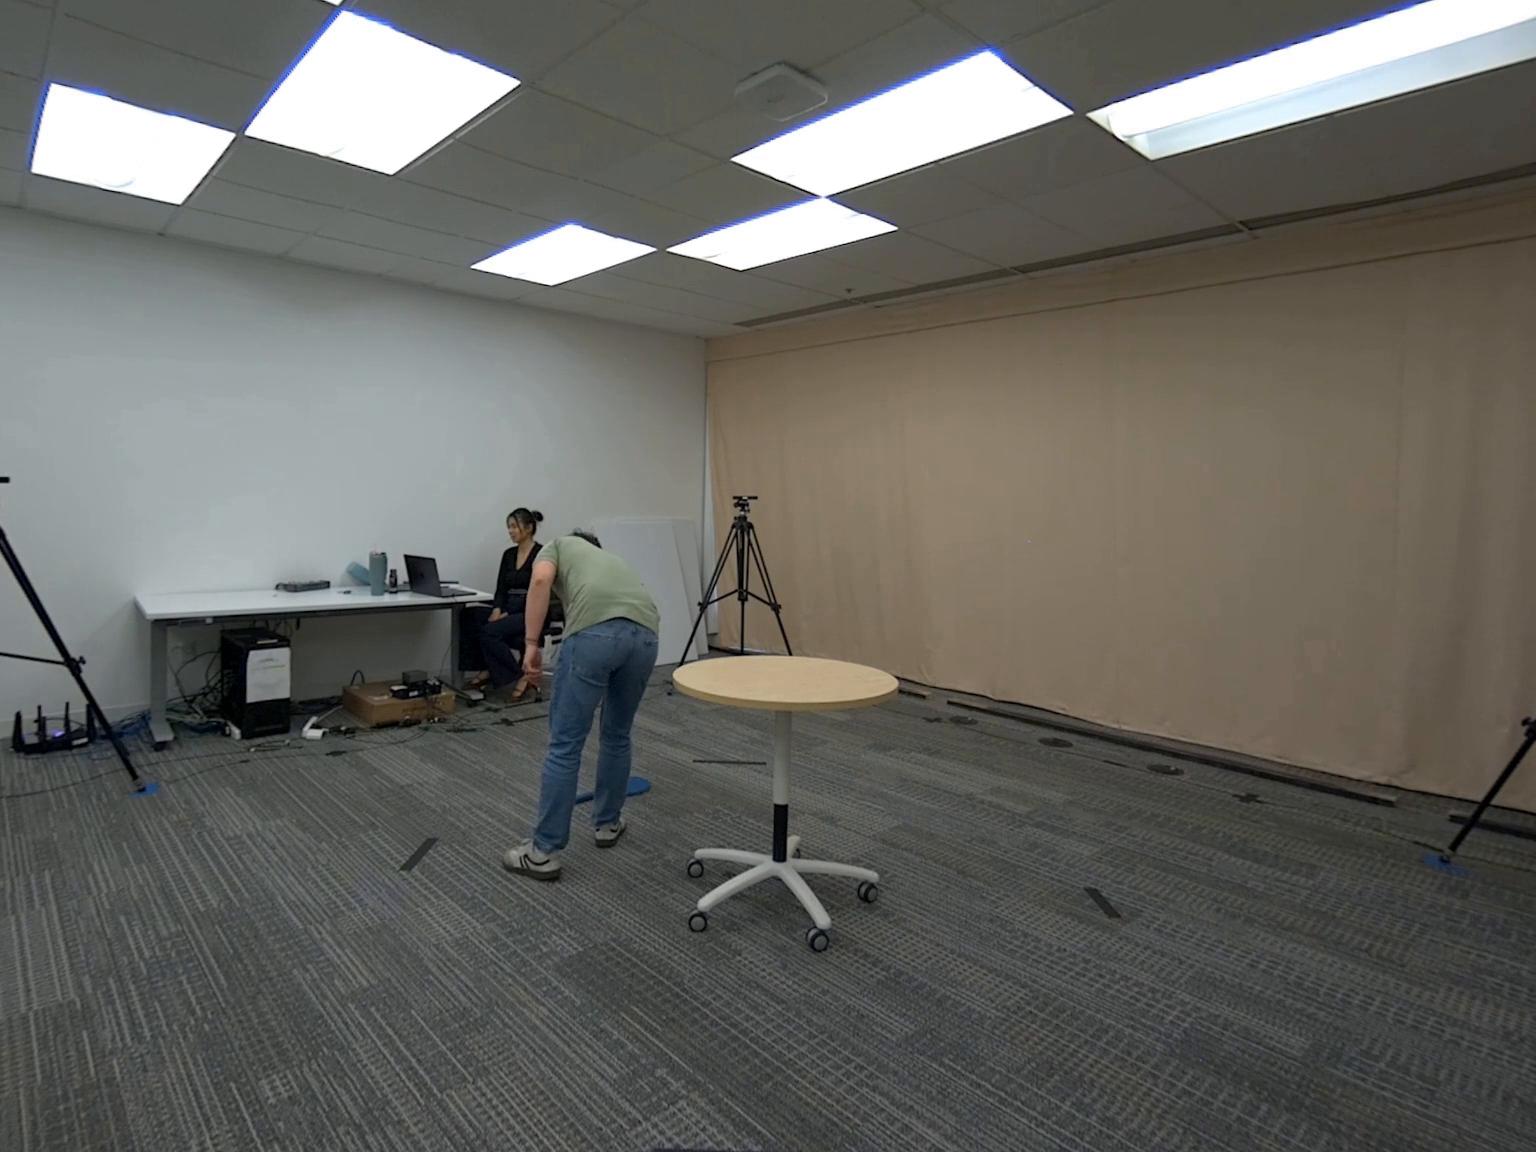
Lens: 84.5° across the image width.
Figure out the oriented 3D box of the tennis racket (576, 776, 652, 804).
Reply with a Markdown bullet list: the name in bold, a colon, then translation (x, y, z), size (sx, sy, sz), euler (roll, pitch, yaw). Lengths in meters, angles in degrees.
- **tennis racket**: translation (-0.735, 0.978, 3.949), size (0.219, 0.032, 0.422), euler (5, 3, 42)
